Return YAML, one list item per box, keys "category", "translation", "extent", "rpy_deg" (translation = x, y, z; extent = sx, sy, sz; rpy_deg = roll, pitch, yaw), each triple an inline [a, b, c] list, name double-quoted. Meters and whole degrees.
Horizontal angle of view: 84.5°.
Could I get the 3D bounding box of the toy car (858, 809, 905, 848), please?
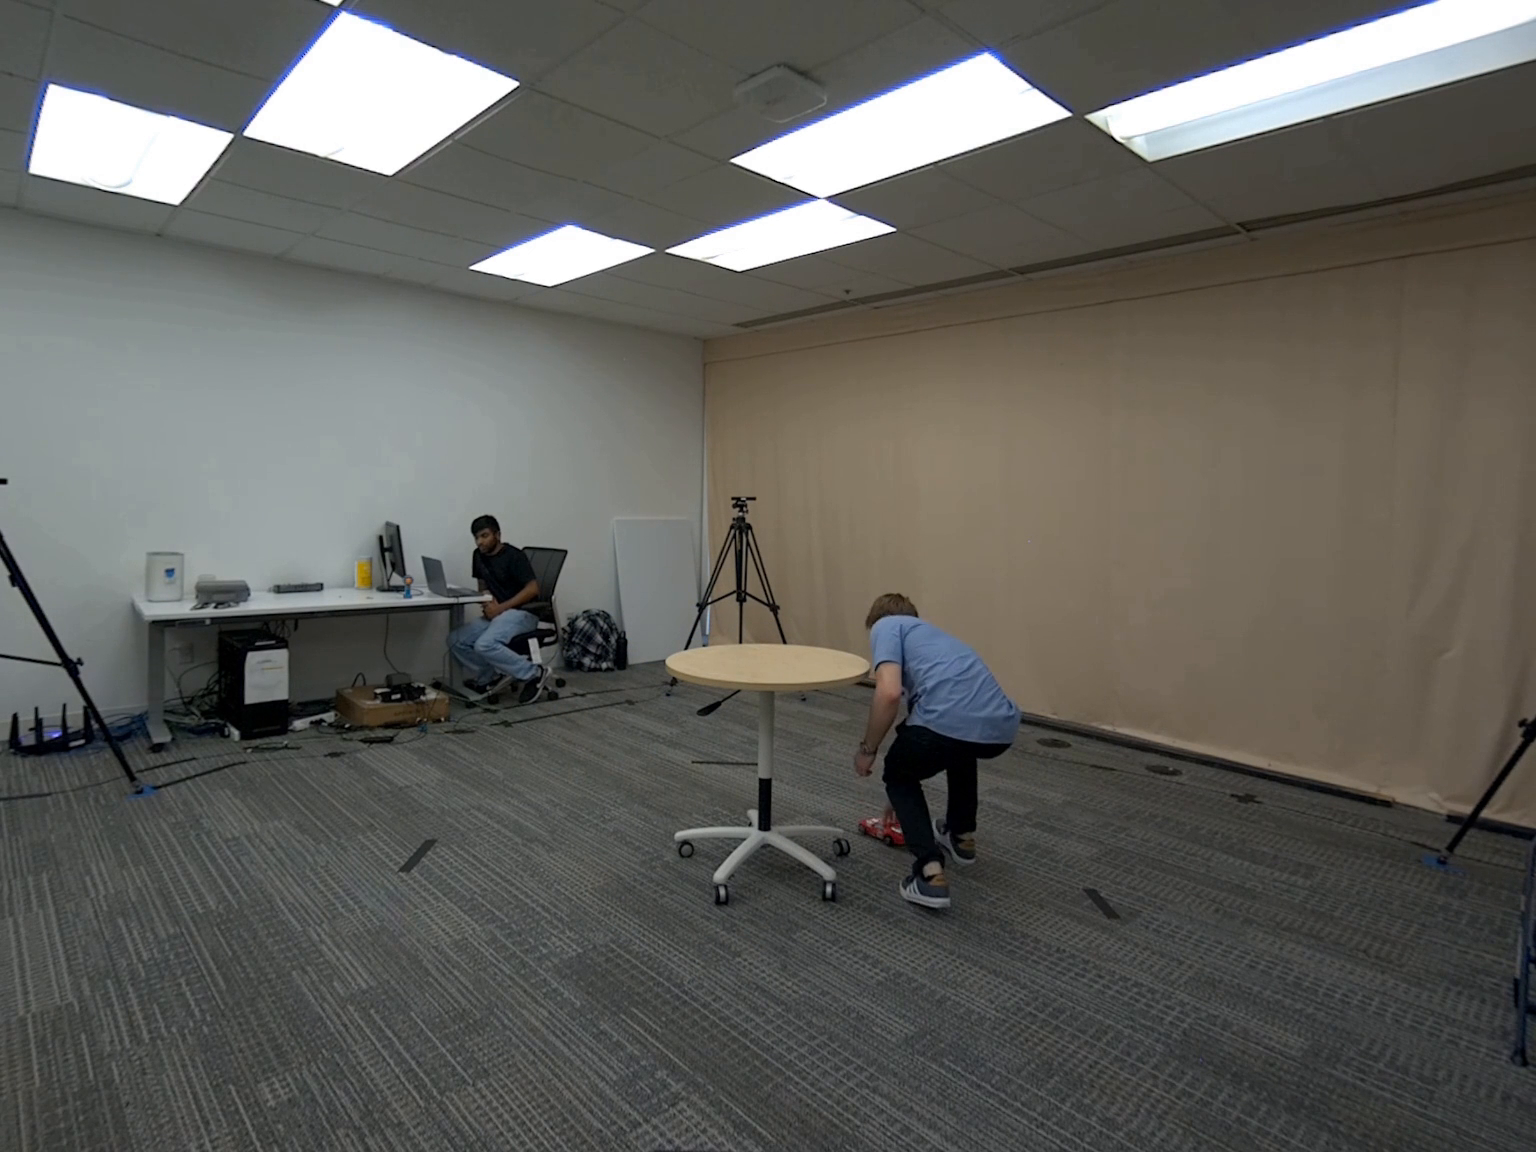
- category: "toy car"
  translation: [0.489, 1.060, 3.487]
  extent: [0.127, 0.083, 0.259]
  rpy_deg: [-3, -3, -40]
